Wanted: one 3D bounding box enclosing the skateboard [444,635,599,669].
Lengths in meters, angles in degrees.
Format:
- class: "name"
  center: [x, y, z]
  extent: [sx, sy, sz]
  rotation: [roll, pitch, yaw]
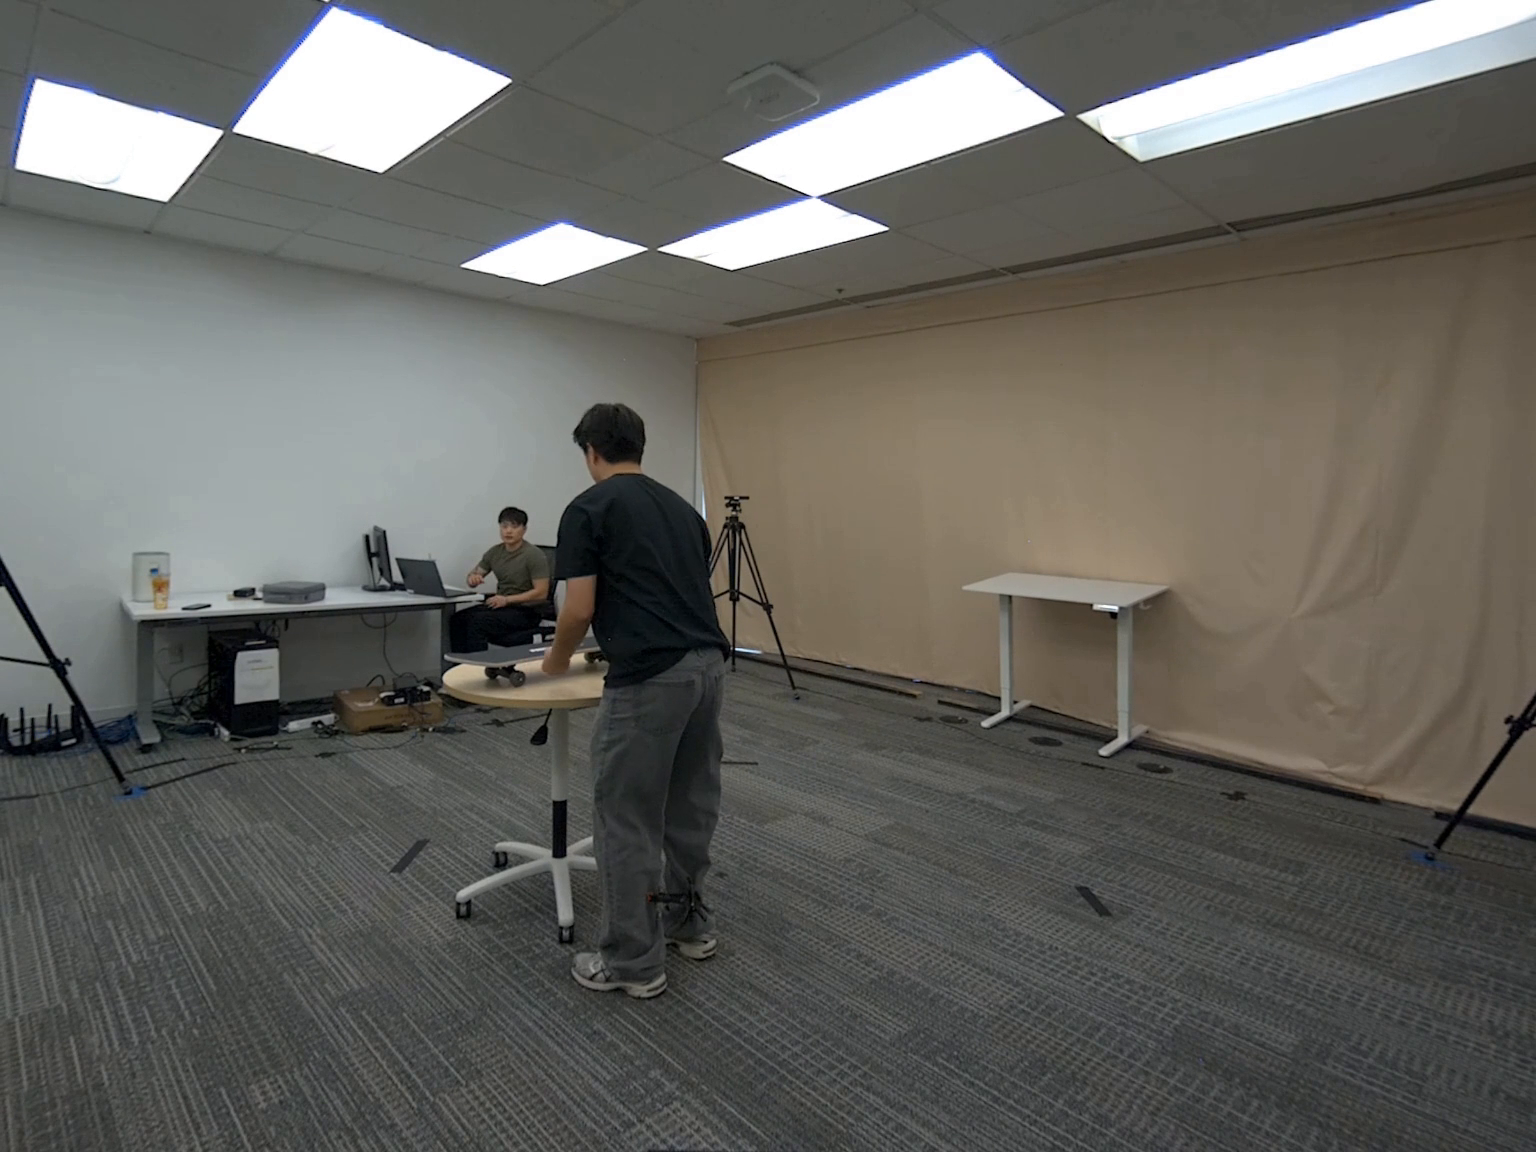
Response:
- class: "skateboard"
  center: [-0.718, 0.278, 2.851]
  extent: [0.198, 0.110, 0.768]
  rotation: [5, 7, 43]
